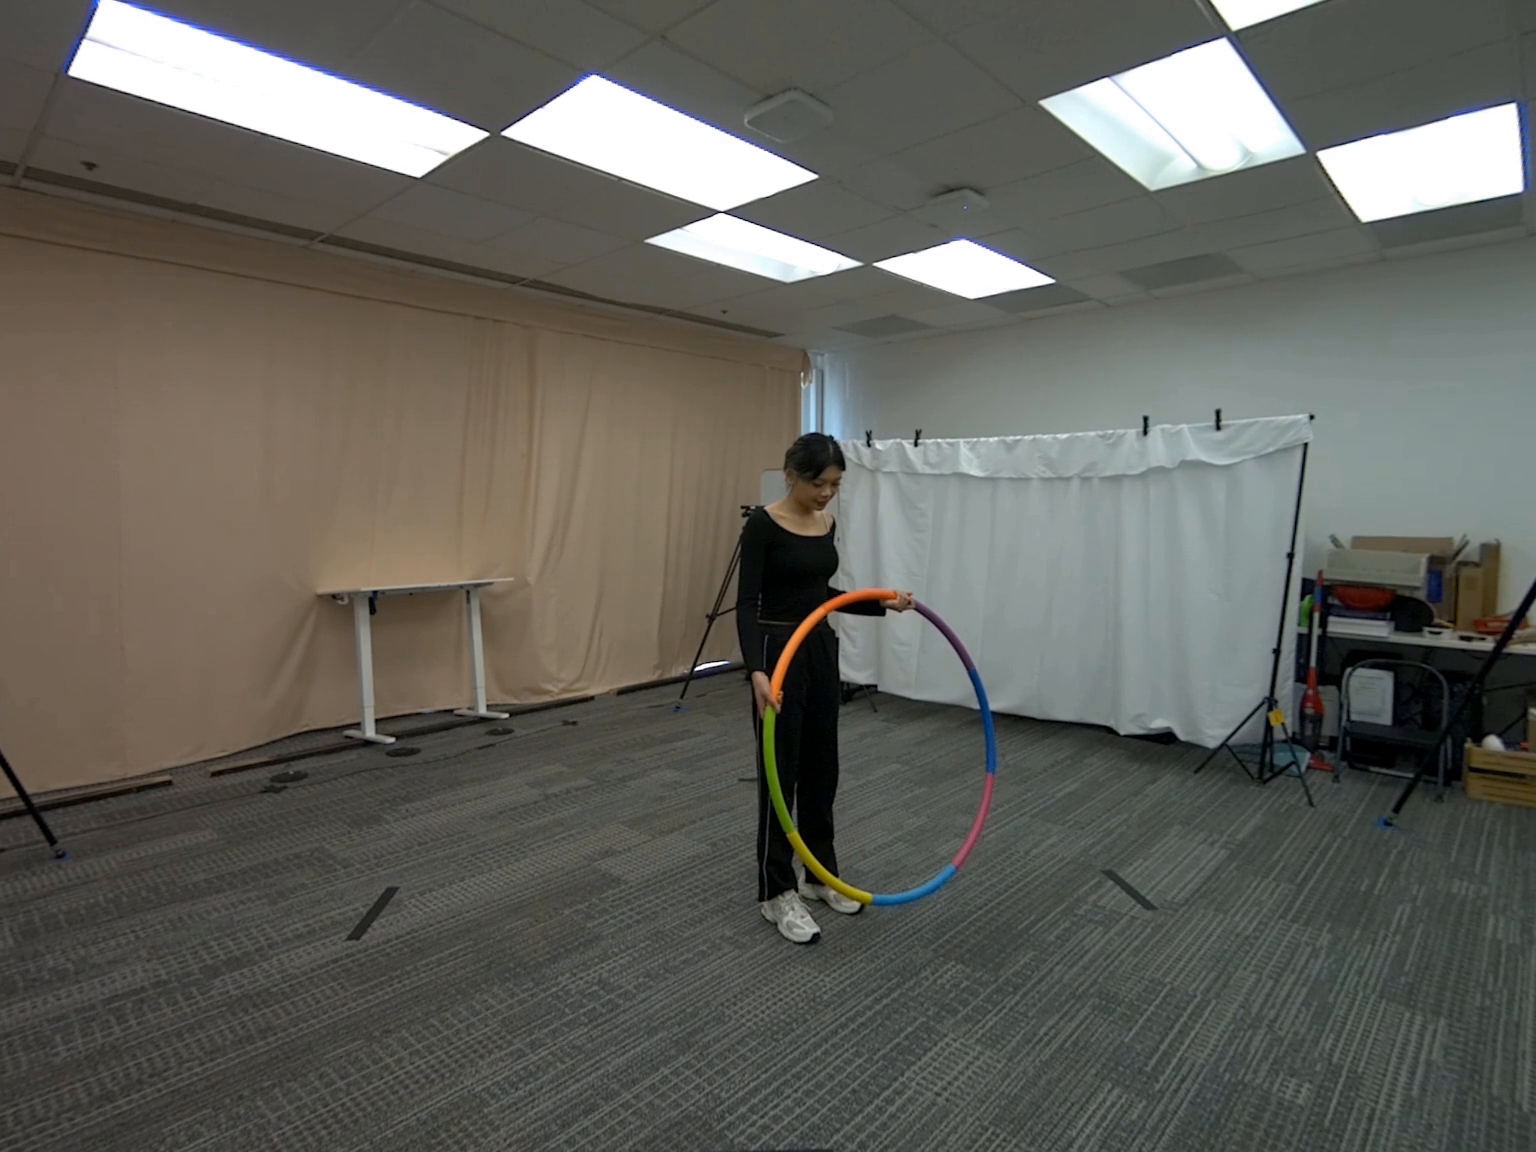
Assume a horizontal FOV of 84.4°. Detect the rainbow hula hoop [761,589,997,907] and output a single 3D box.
[{"bbox_3d":[0.407,0.541,2.729,0.951,0.984,0.036,-3,-9,-33],"label":"rainbow hula hoop"}]
